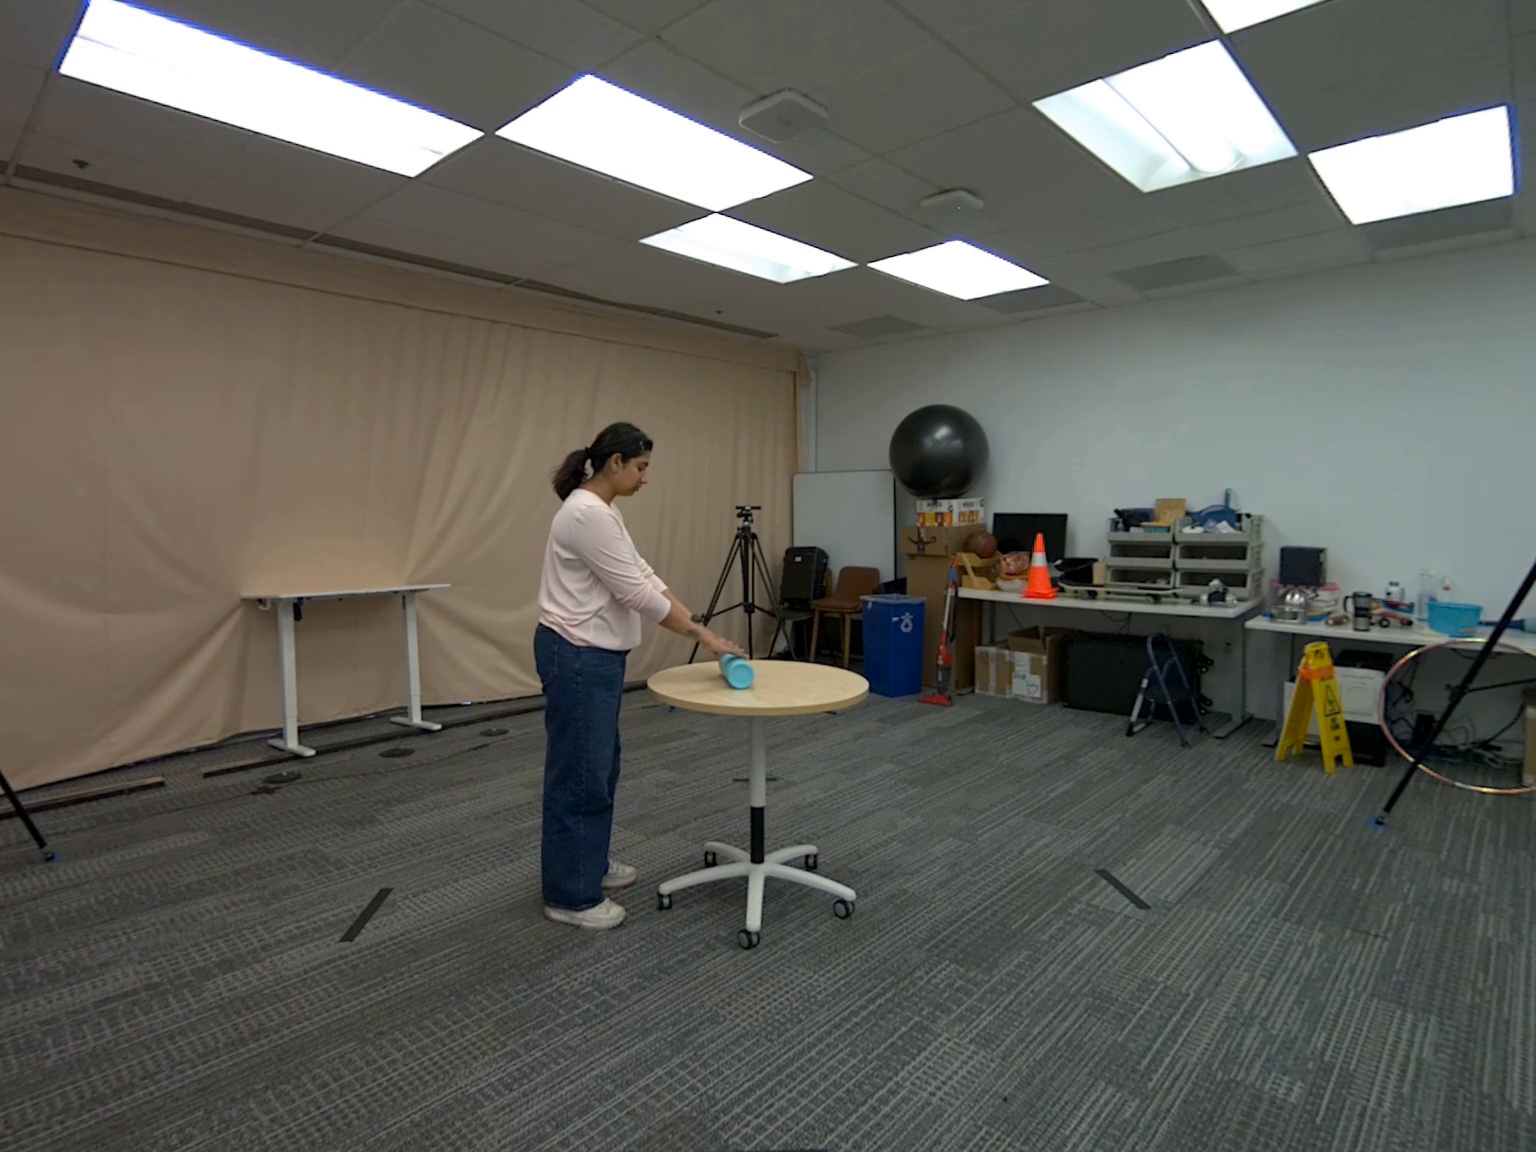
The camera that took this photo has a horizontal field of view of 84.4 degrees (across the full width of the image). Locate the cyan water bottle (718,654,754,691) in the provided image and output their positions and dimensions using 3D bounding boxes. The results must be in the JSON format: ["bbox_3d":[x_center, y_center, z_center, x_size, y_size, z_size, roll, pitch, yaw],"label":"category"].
[{"bbox_3d":[-0.111,0.322,2.927,0.091,0.092,0.287,-1,4,-10],"label":"cyan water bottle"}]
